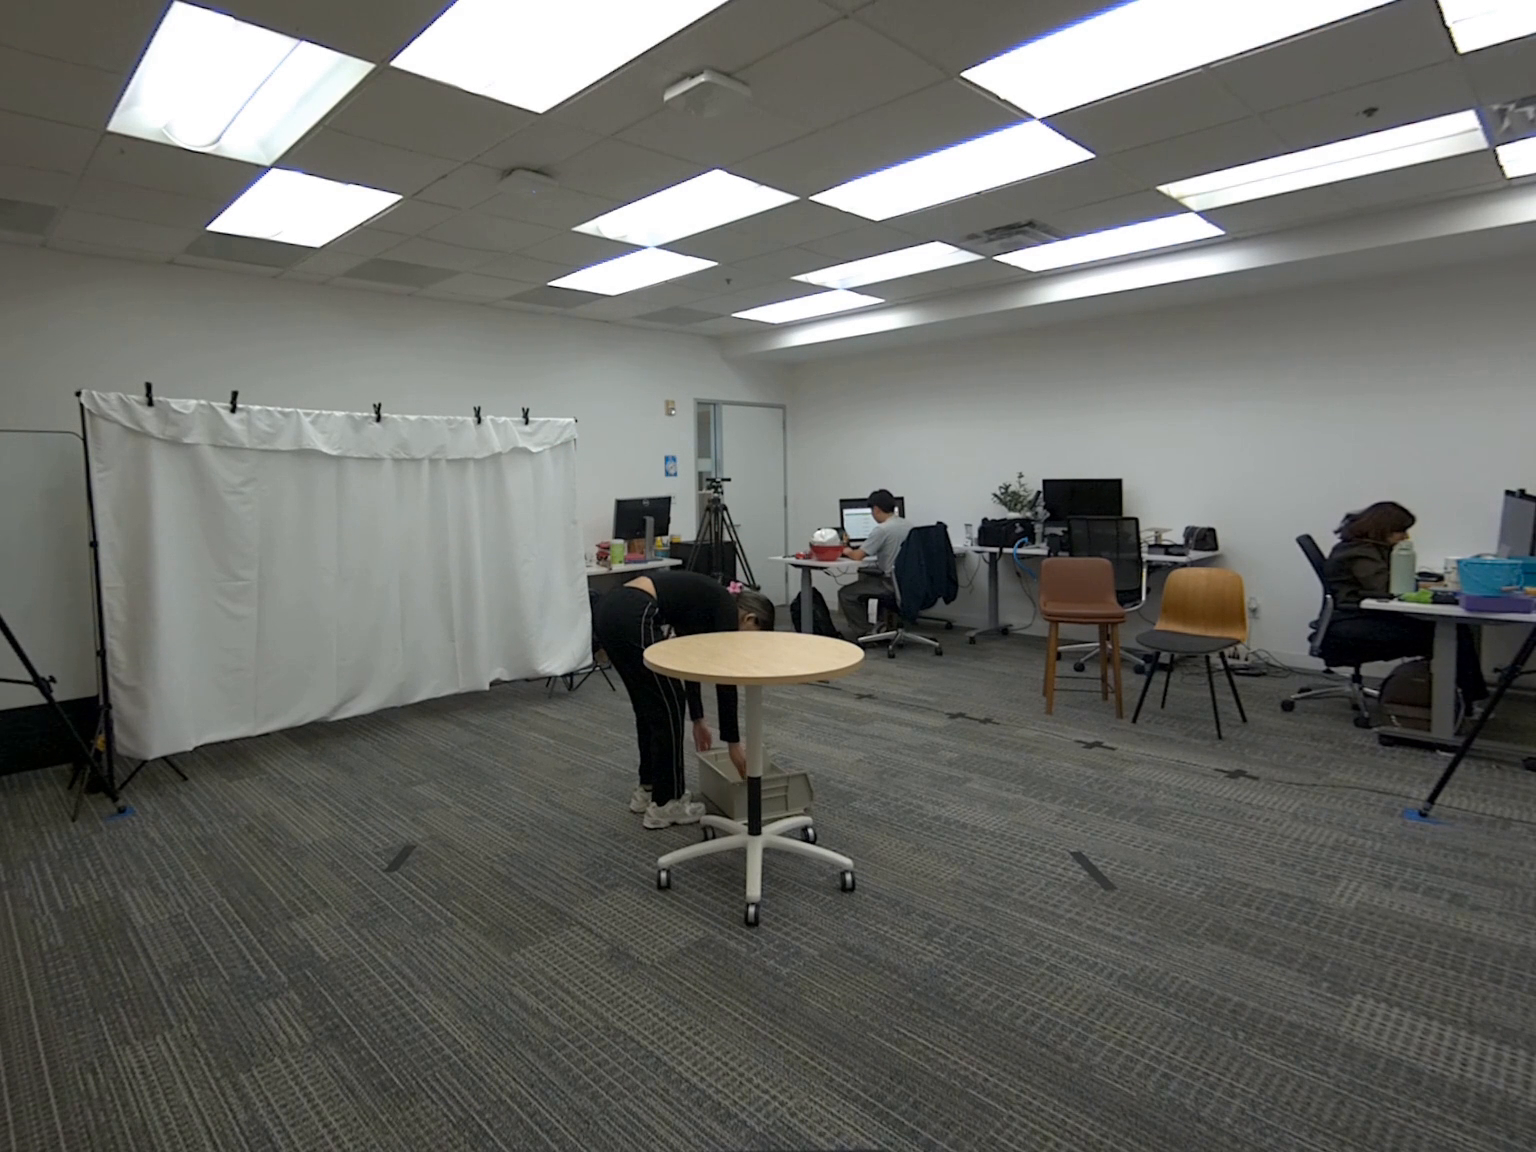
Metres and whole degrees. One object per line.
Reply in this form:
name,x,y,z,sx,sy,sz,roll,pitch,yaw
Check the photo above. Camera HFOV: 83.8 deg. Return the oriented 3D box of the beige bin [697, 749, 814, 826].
beige bin,-0.066,0.882,3.691,0.370,0.188,0.433,-4,7,-25
